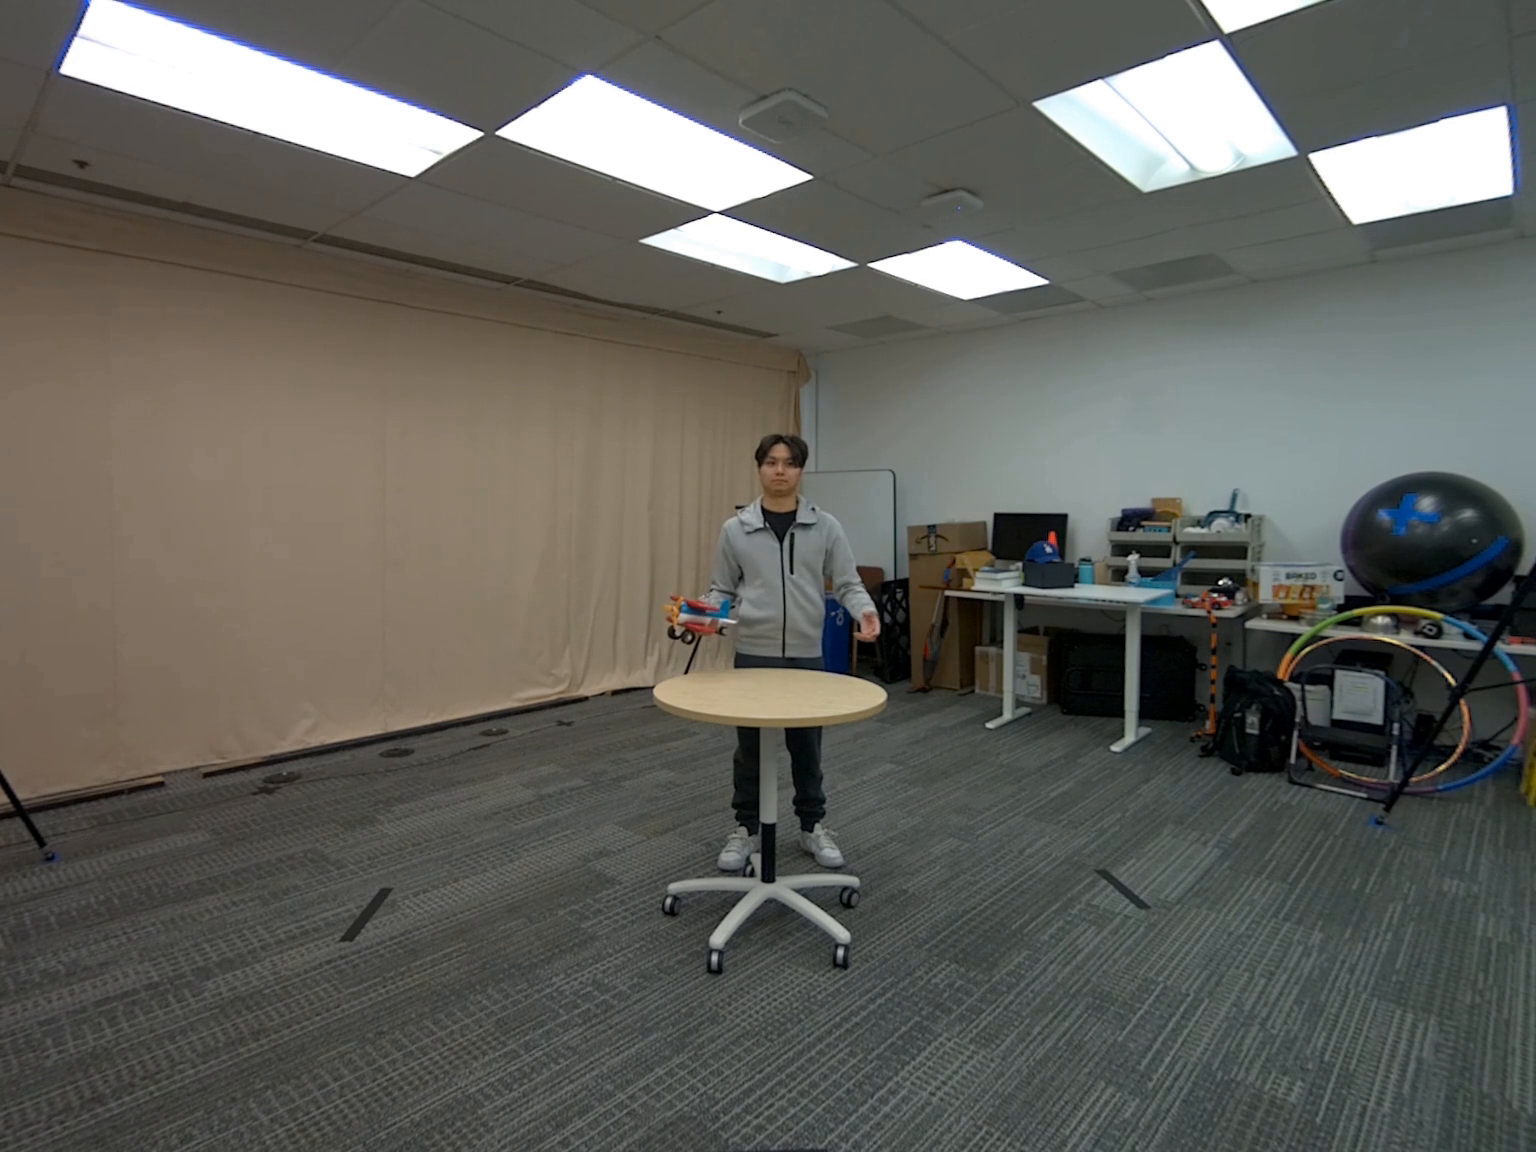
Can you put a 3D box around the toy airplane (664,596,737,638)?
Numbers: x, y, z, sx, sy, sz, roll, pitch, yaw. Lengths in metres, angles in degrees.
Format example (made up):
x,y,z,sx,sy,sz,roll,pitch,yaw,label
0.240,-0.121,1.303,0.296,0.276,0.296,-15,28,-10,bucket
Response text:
x,y,z,sx,sy,sz,roll,pitch,yaw,label
-0.249,0.137,3.077,0.257,0.155,0.255,4,11,22,toy airplane
